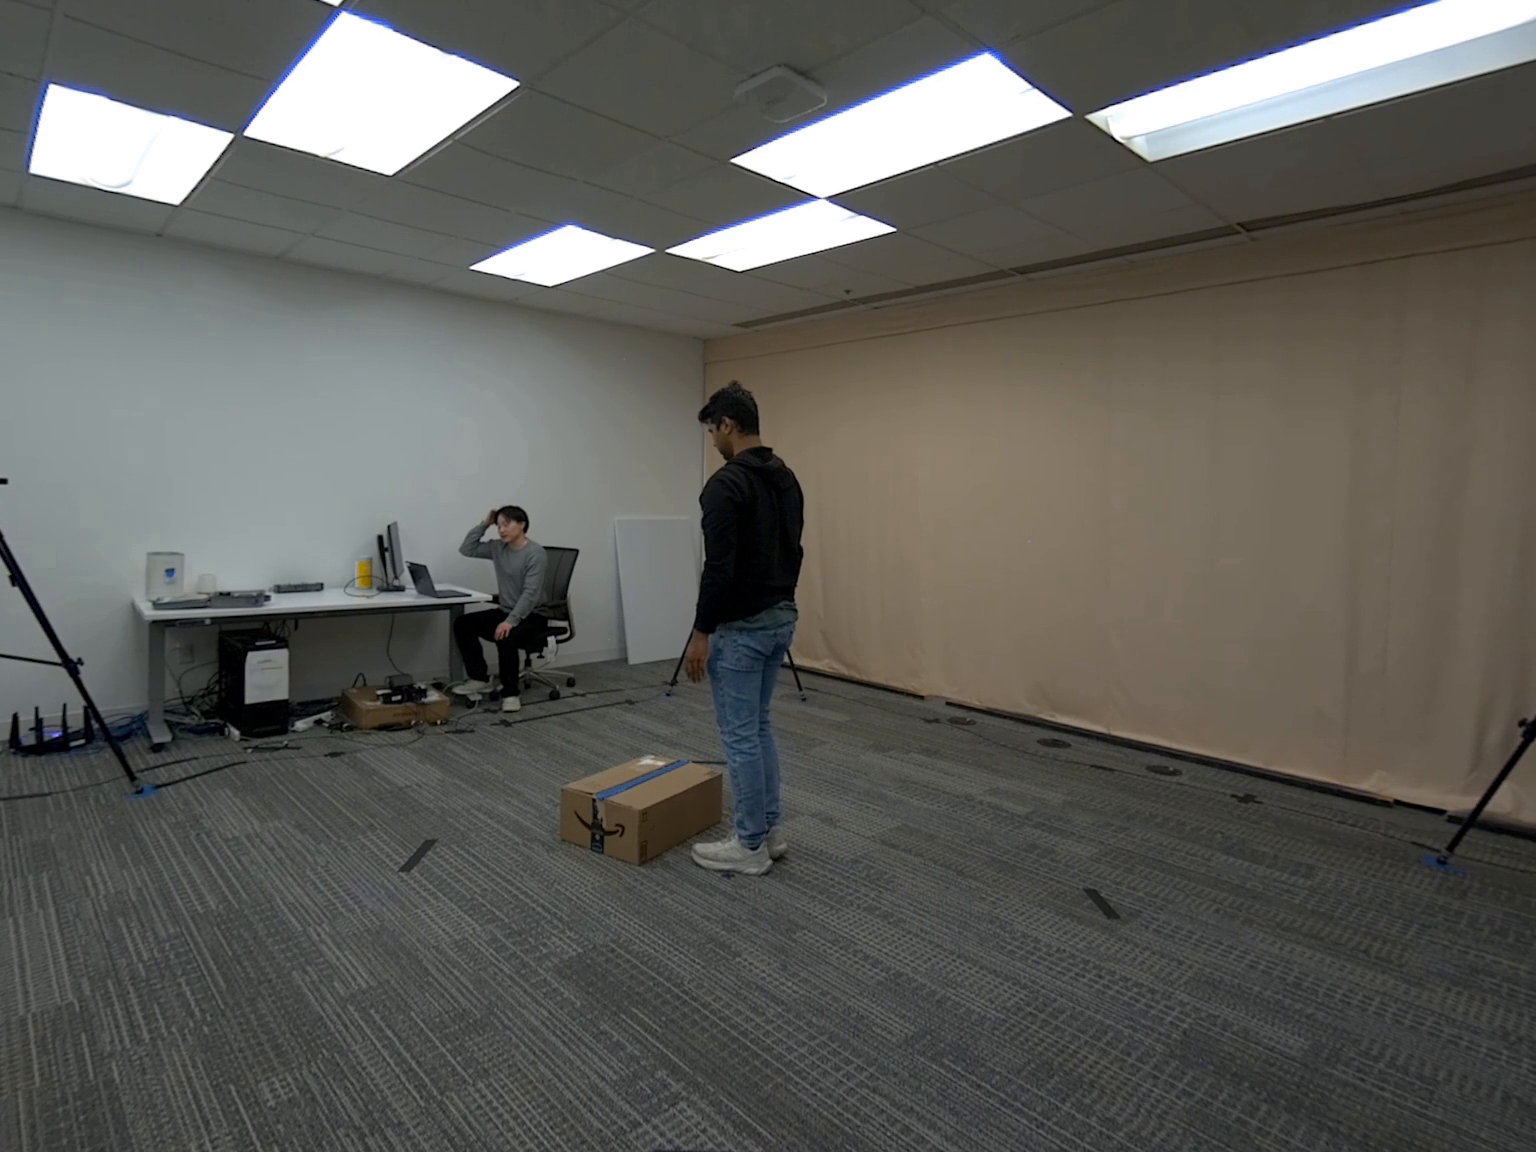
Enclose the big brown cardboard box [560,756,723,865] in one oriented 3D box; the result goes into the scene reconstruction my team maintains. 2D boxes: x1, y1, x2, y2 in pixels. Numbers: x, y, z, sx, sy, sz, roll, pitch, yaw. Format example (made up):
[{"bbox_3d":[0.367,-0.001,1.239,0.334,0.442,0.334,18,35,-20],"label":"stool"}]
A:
[{"bbox_3d":[-0.518,0.950,3.512,0.427,0.232,0.578,4,6,31],"label":"big brown cardboard box"}]
